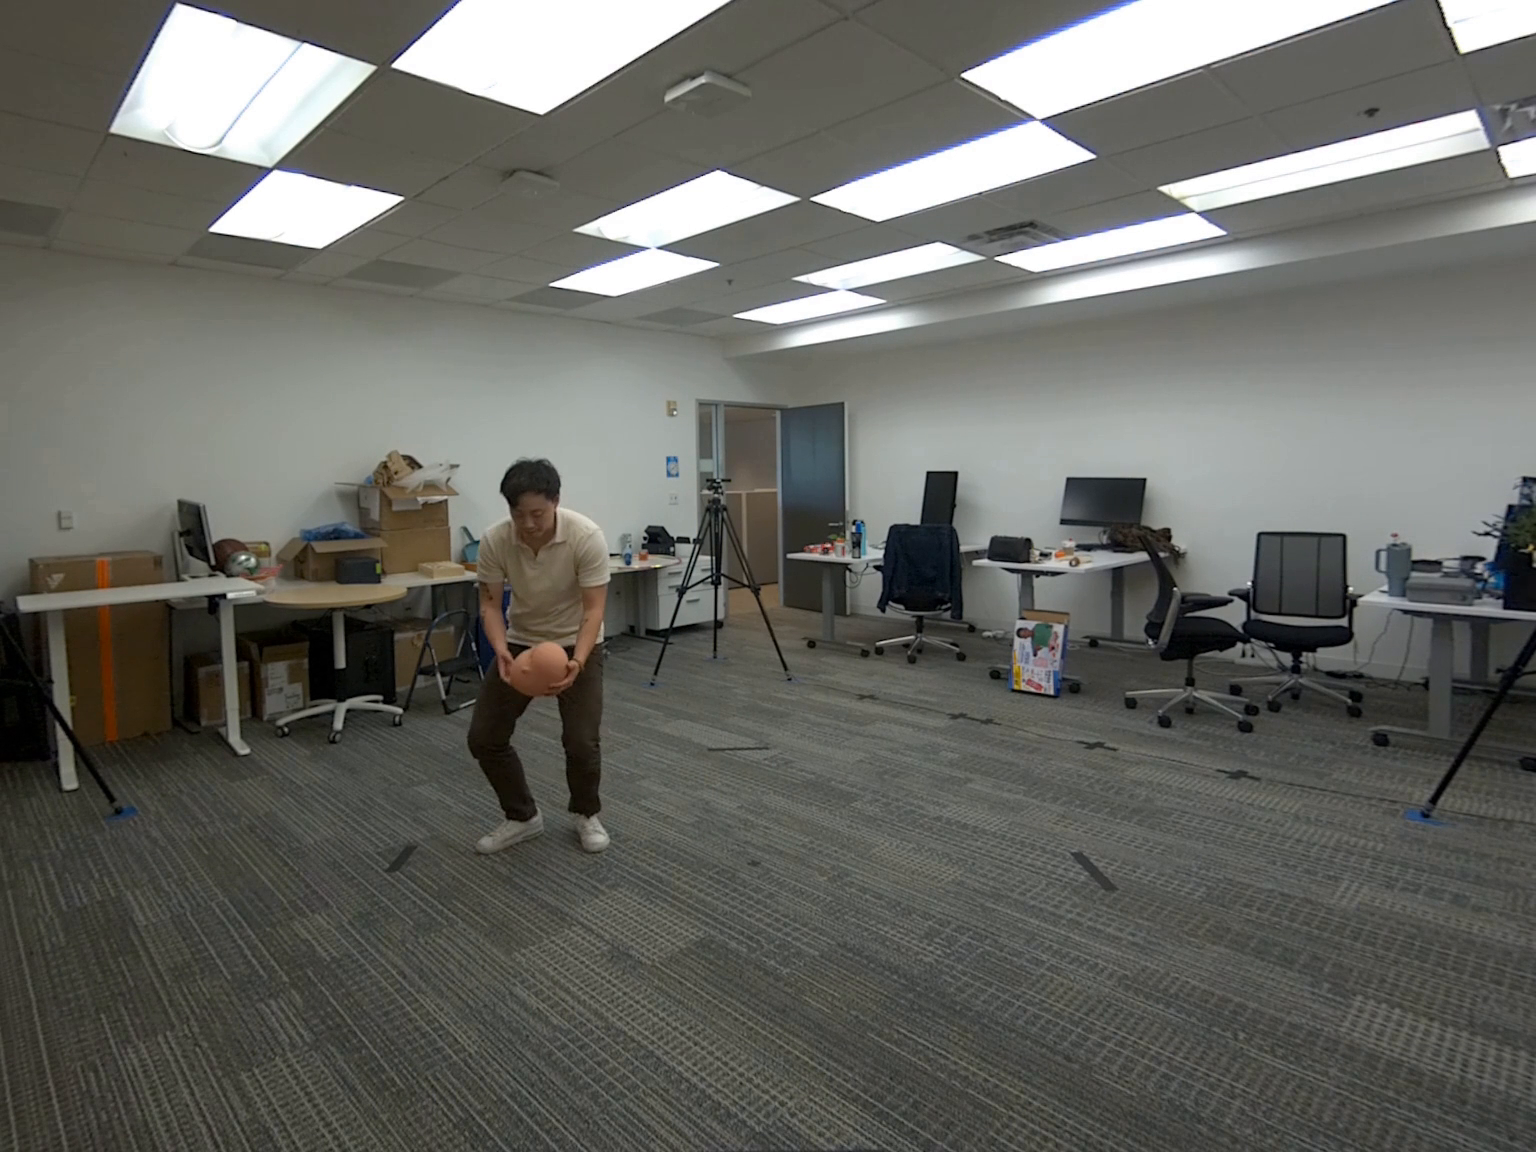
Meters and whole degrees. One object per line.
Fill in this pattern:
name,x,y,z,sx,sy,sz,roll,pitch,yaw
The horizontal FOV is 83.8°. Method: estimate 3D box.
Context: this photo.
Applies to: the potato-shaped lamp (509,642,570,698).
potato-shaped lamp,-0.780,0.318,2.927,0.198,0.168,0.167,-43,17,30
